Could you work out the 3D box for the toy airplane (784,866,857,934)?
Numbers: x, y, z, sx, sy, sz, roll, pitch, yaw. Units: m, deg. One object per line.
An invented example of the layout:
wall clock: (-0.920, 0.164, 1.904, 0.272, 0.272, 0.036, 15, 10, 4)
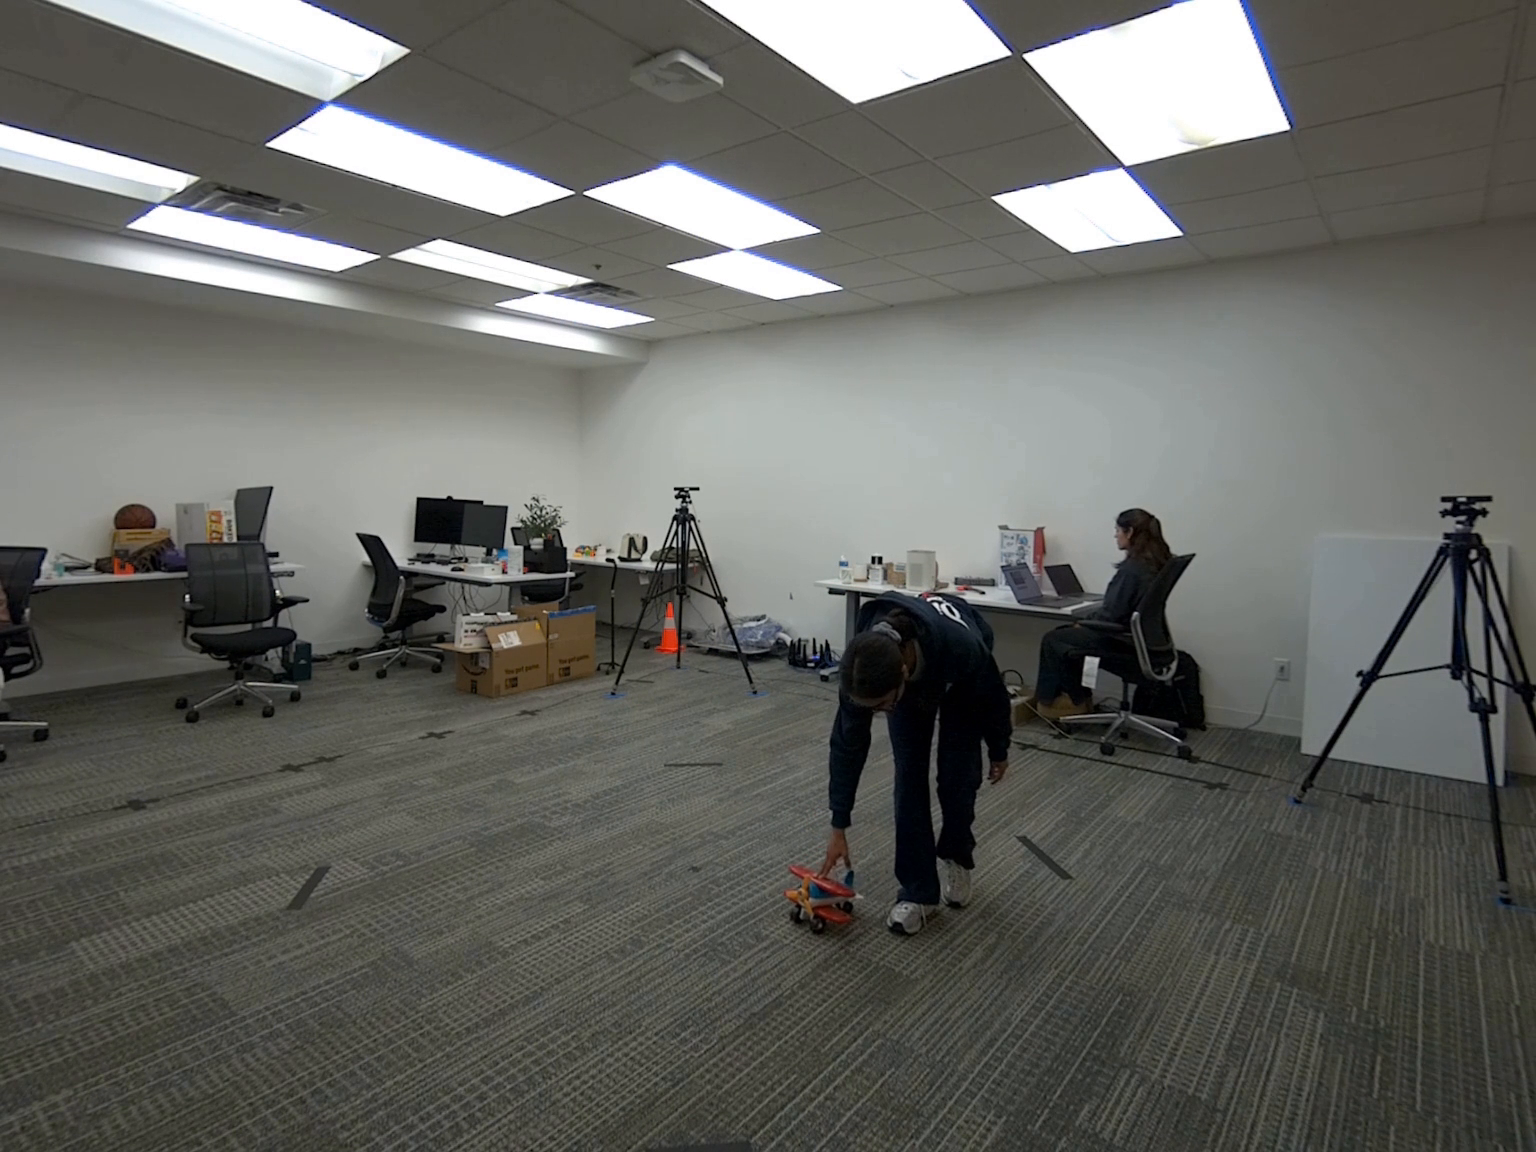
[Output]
toy airplane: (0.168, 1.035, 2.768, 0.256, 0.155, 0.255, 3, 7, 18)
